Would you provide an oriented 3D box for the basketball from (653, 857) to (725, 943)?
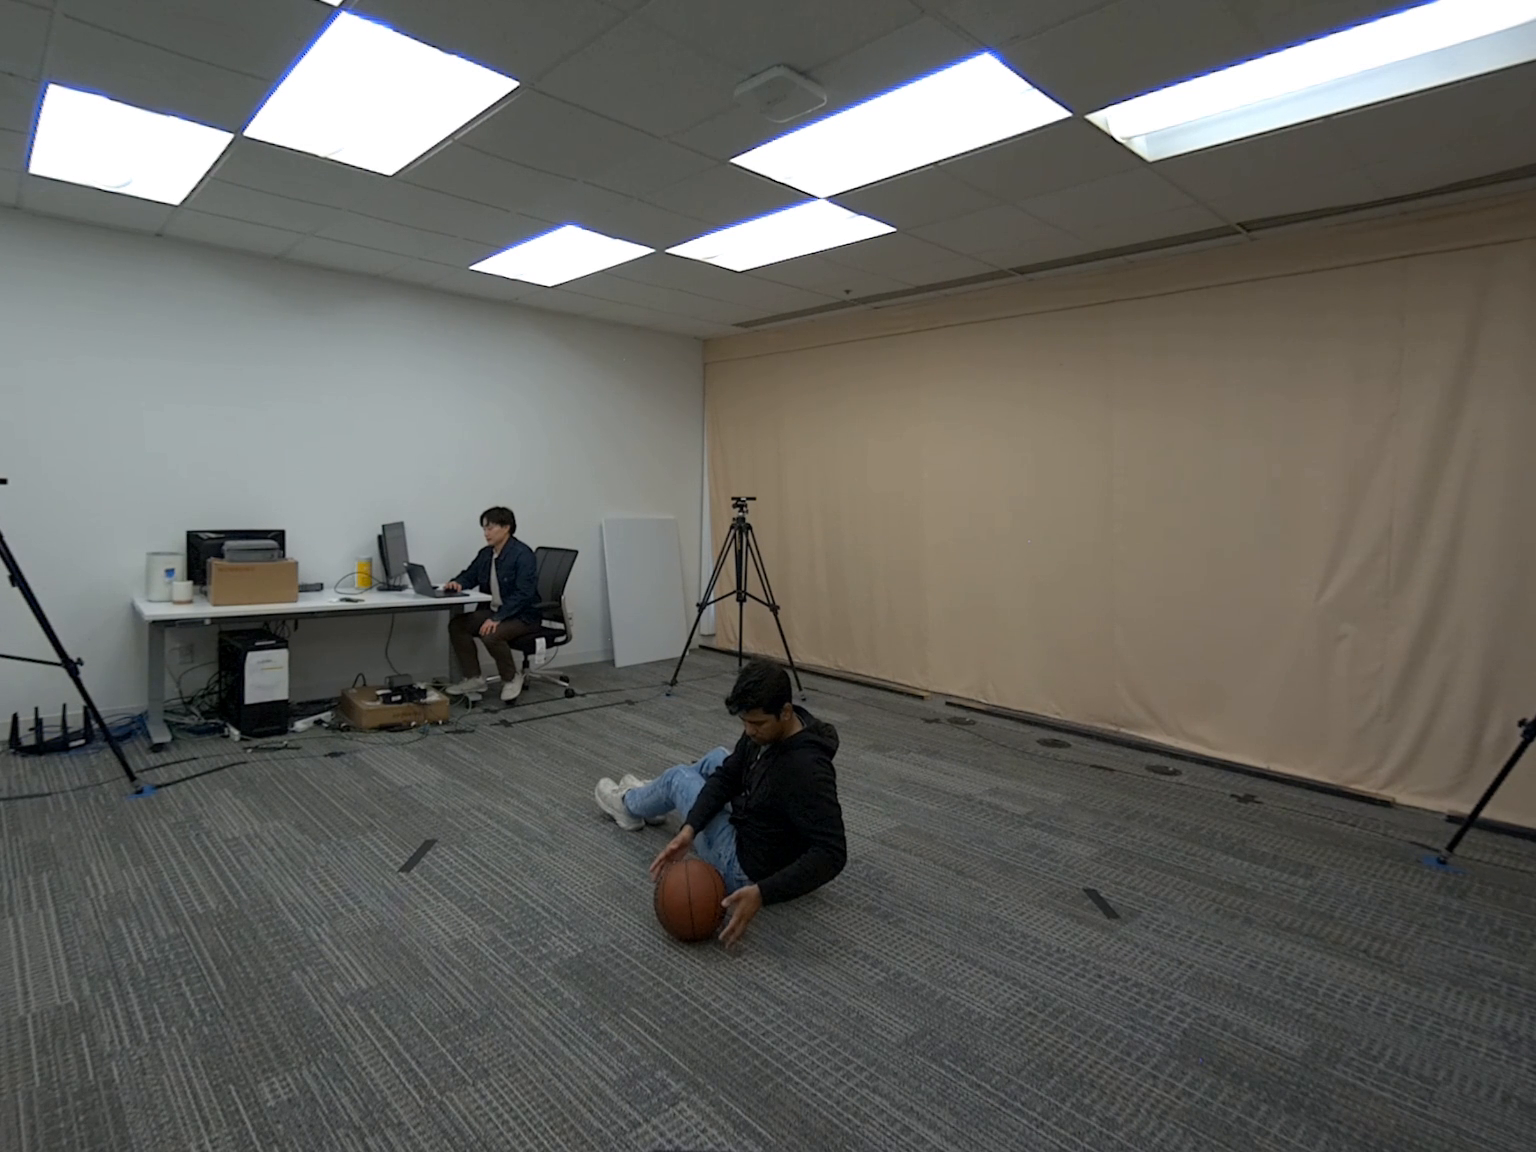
[{"bbox_3d":[-0.254,1.027,2.665,0.236,0.235,0.237,1,4,-1],"label":"basketball"}]
